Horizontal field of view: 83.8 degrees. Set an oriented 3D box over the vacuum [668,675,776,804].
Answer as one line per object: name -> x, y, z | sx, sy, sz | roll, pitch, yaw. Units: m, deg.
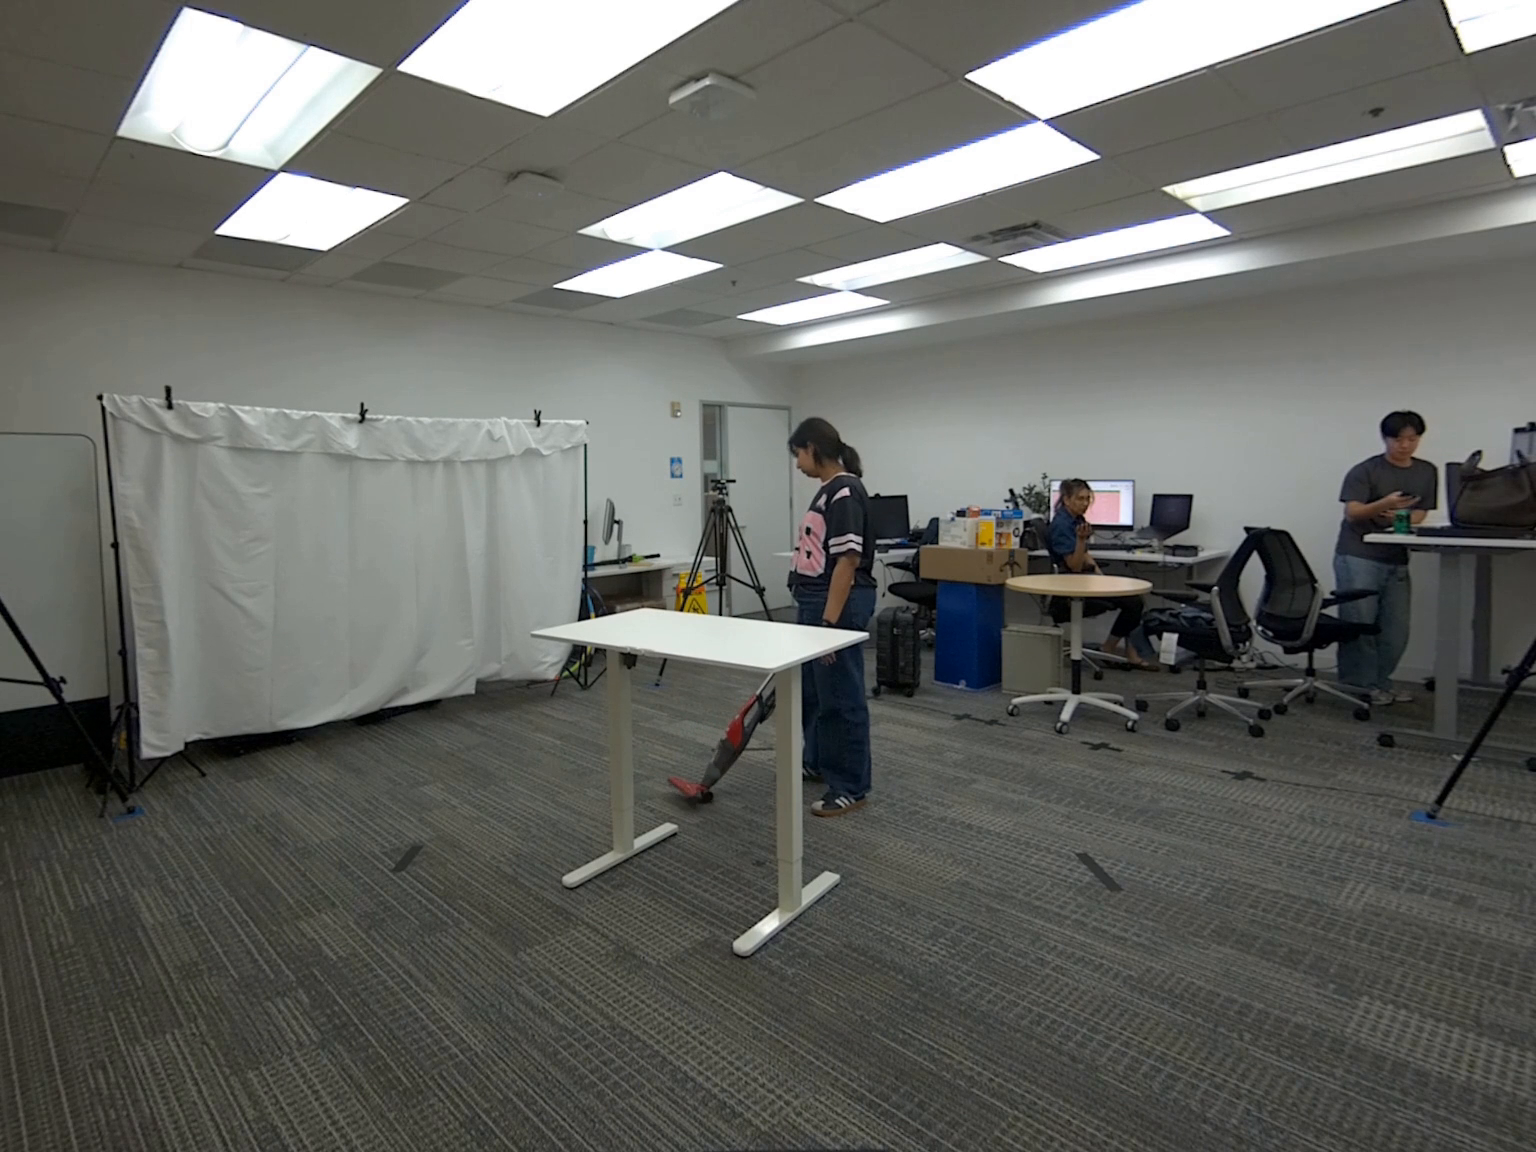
vacuum -> -0.031, 0.565, 3.887 | 0.140, 1.051, 0.260 | 47, -19, -27
